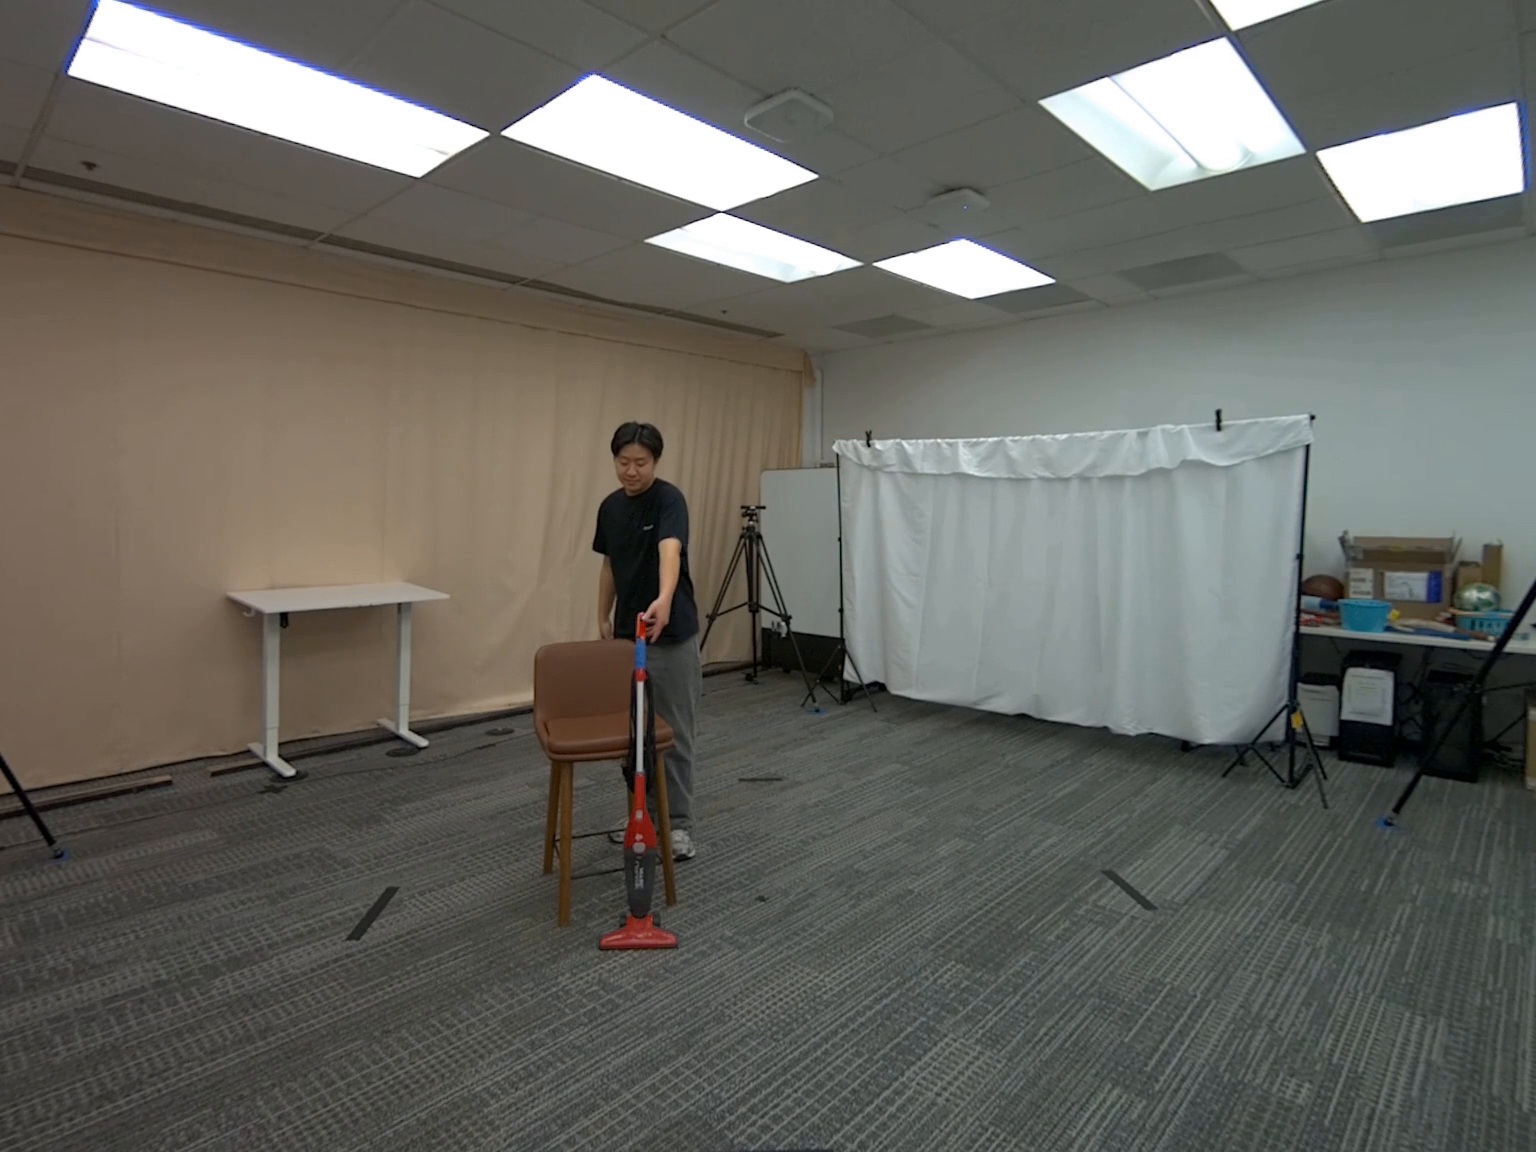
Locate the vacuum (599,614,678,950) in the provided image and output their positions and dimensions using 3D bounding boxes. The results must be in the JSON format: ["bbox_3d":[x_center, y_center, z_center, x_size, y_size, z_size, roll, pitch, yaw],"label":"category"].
[{"bbox_3d":[-0.424,0.649,2.832,0.252,1.059,0.143,0,-14,-4],"label":"vacuum"}]
